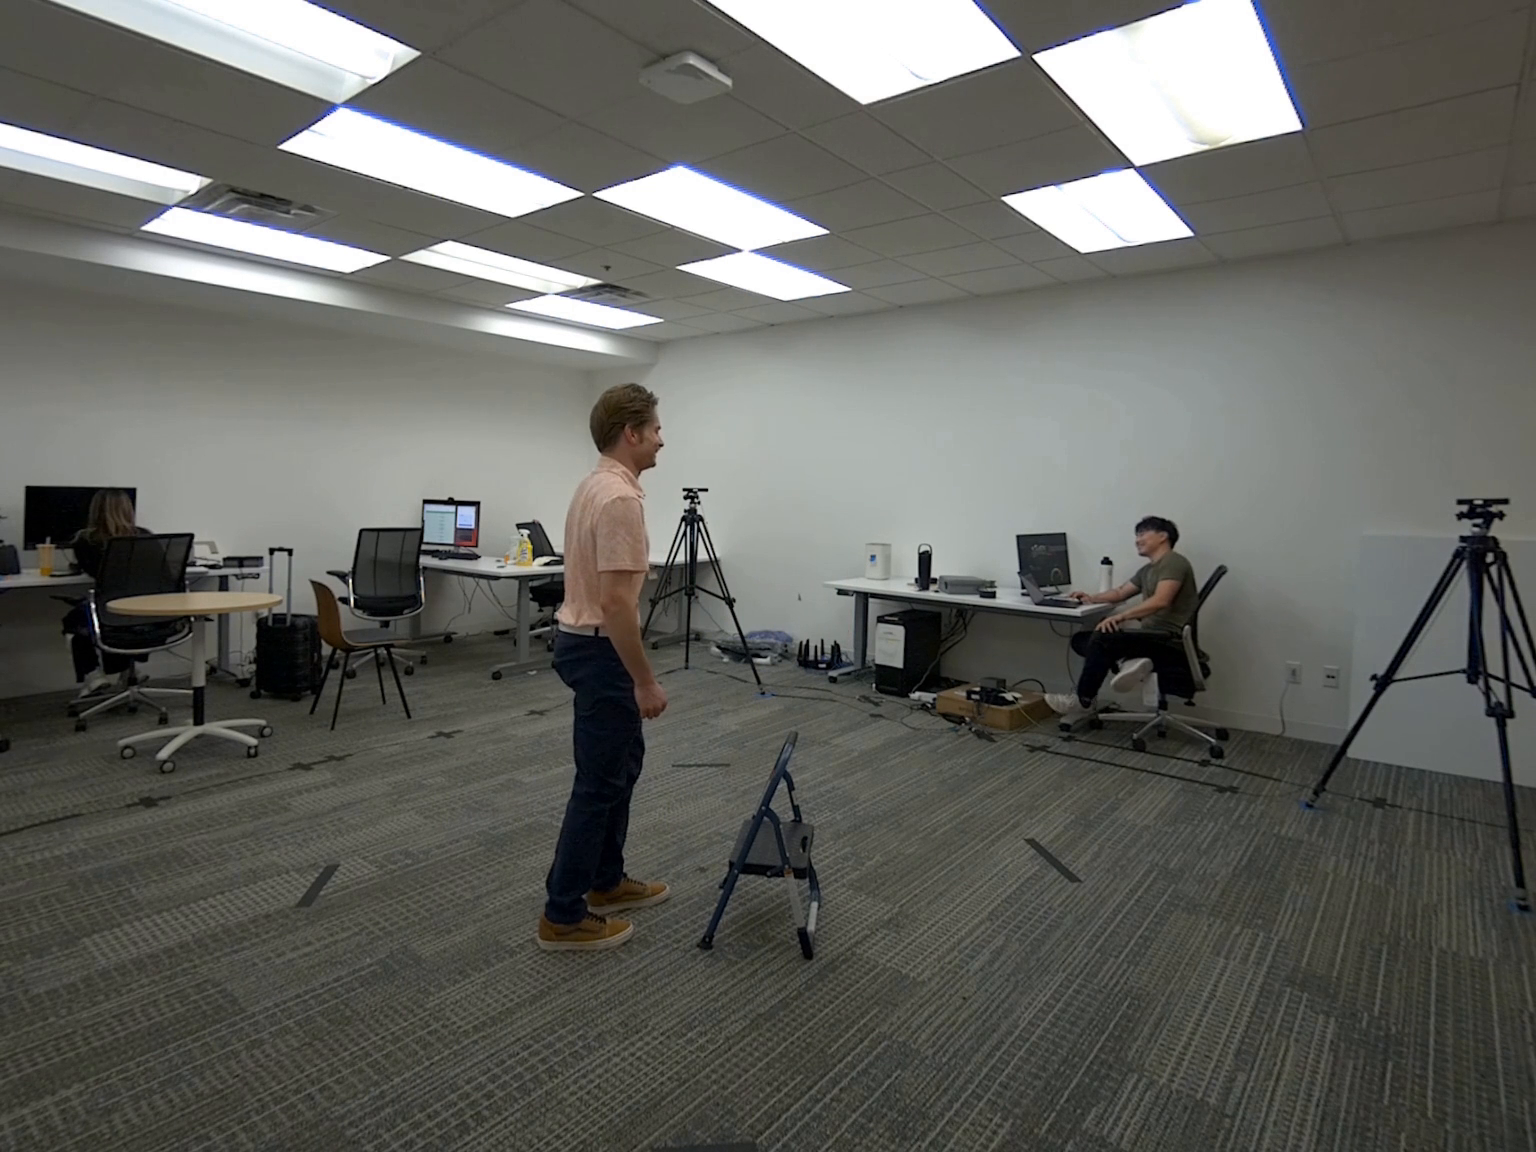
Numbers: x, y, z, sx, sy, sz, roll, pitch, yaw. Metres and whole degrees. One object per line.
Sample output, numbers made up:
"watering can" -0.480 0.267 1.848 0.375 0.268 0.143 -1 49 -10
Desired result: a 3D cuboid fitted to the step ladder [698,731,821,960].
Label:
"step ladder" -0.012 0.812 2.731 0.352 0.604 0.428 2 4 7
